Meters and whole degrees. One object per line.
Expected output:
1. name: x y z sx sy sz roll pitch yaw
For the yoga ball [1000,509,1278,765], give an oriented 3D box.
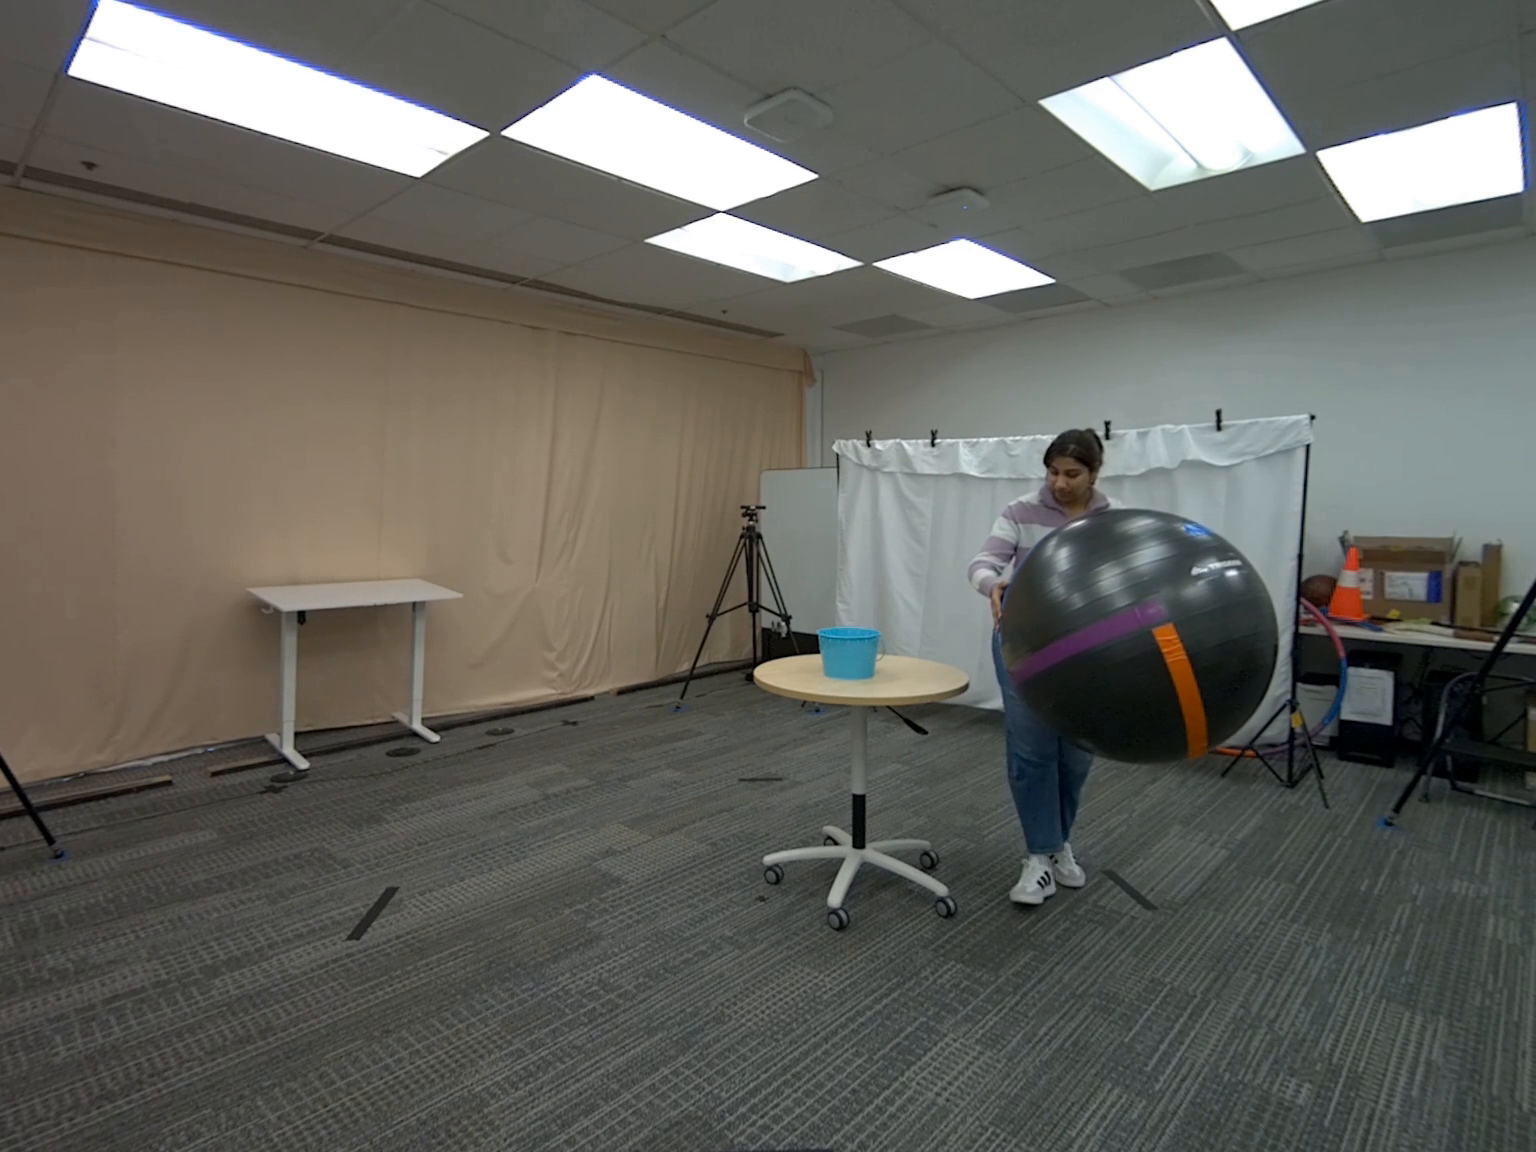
1. yoga ball: 1.100 0.184 2.542 0.757 0.756 0.760 0 4 -2
